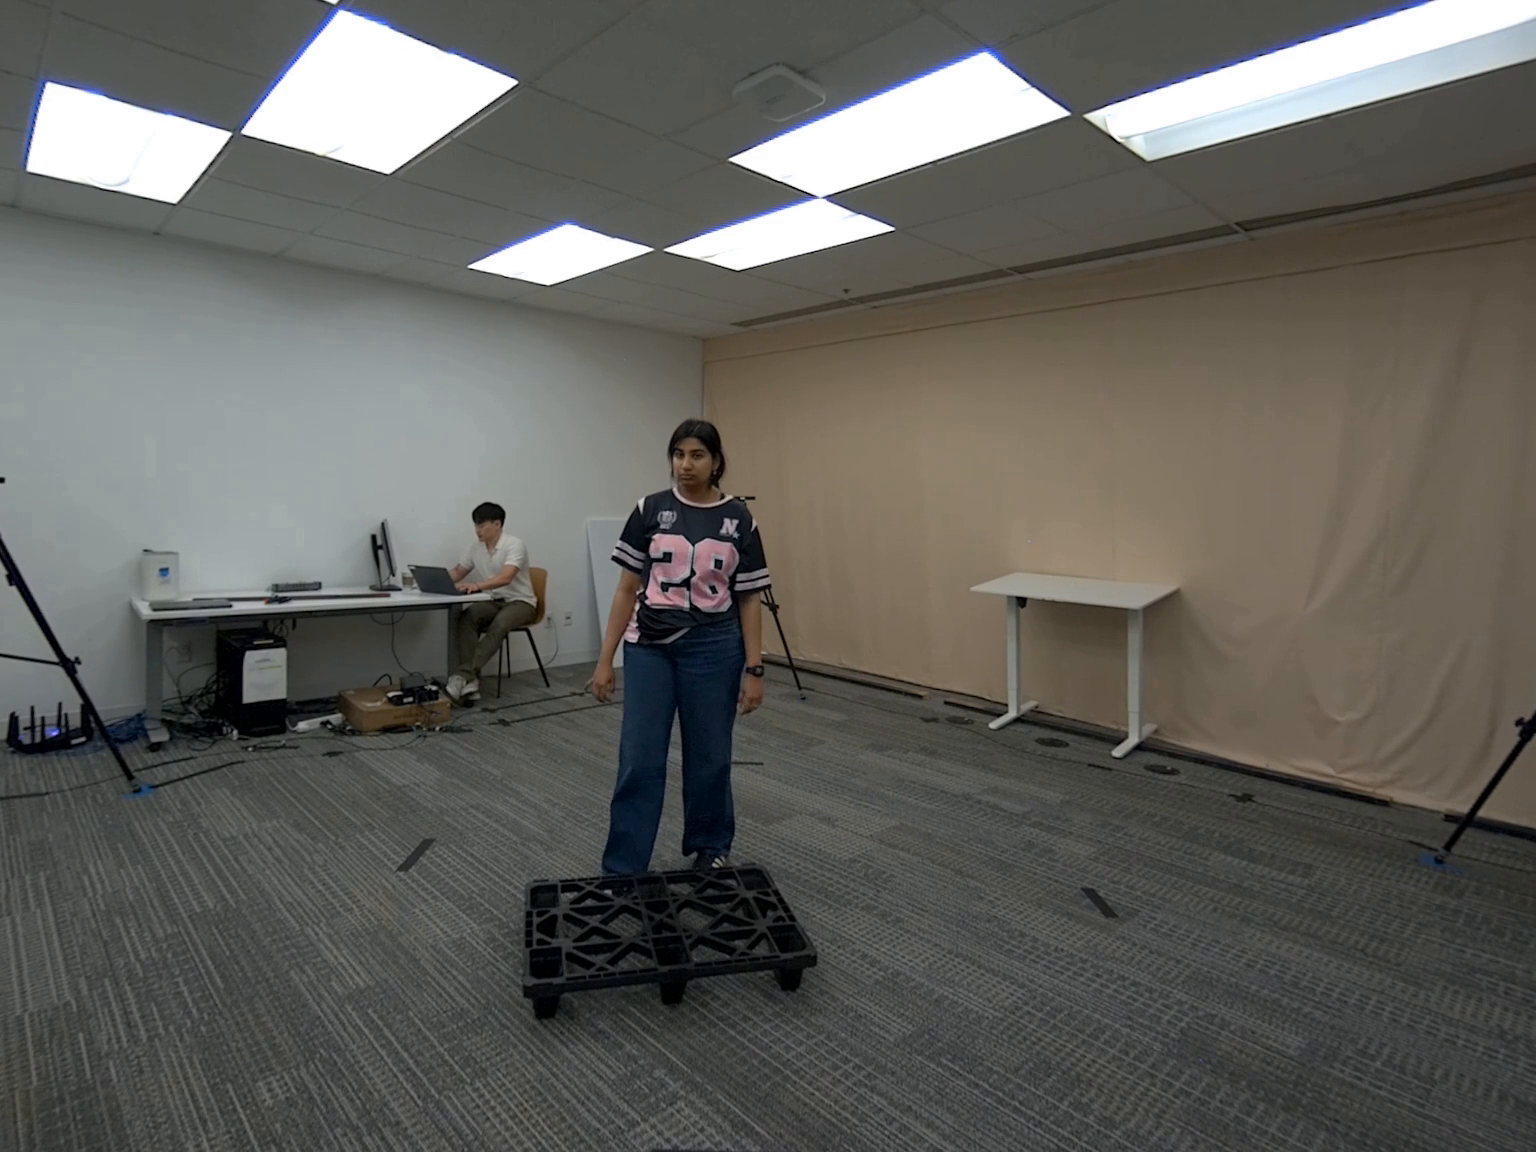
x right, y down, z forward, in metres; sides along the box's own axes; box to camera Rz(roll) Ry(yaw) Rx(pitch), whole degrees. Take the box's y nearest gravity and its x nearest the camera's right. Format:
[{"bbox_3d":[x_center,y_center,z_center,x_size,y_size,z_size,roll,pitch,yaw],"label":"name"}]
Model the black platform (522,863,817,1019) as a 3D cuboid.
[{"bbox_3d":[-0.329,1.081,2.536,0.797,0.143,0.613,0,5,-13],"label":"black platform"}]
